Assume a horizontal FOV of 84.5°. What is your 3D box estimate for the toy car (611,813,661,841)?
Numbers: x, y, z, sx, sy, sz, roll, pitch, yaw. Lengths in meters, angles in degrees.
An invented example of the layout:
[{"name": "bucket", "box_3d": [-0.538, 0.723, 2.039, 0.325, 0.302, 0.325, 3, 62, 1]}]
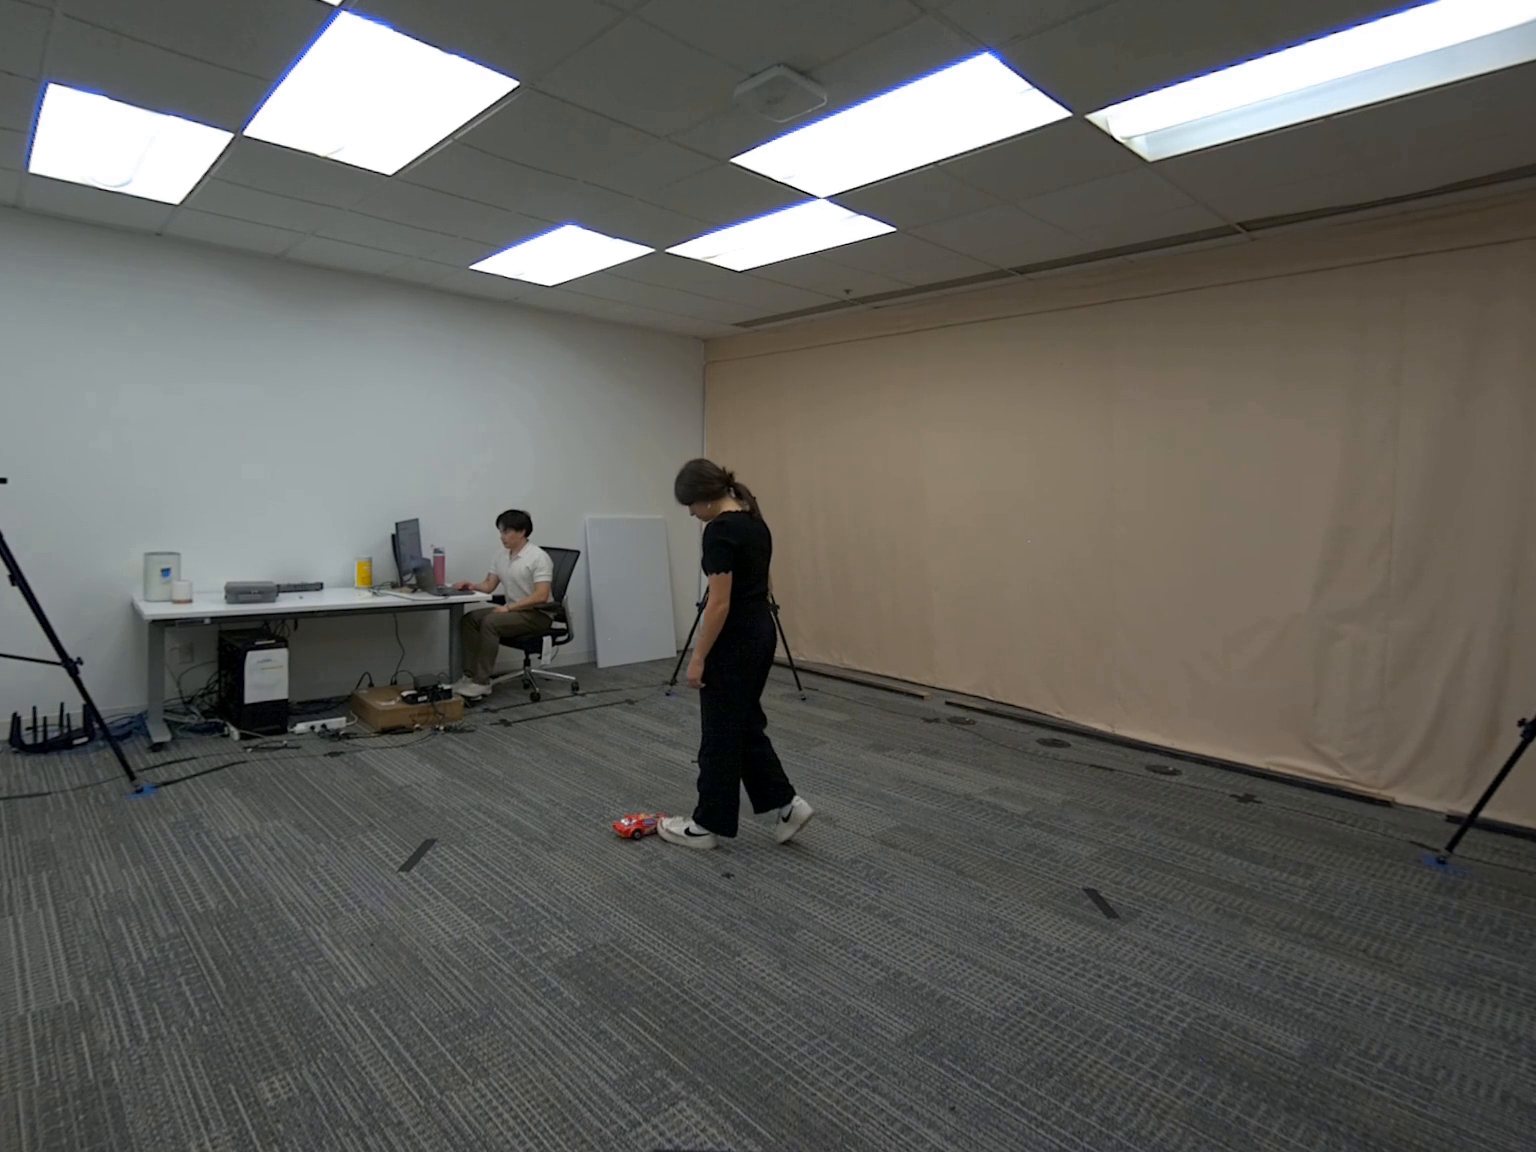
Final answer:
[{"name": "toy car", "box_3d": [-0.531, 1.025, 3.479, 0.248, 0.083, 0.133, 12, -4, -37]}]
